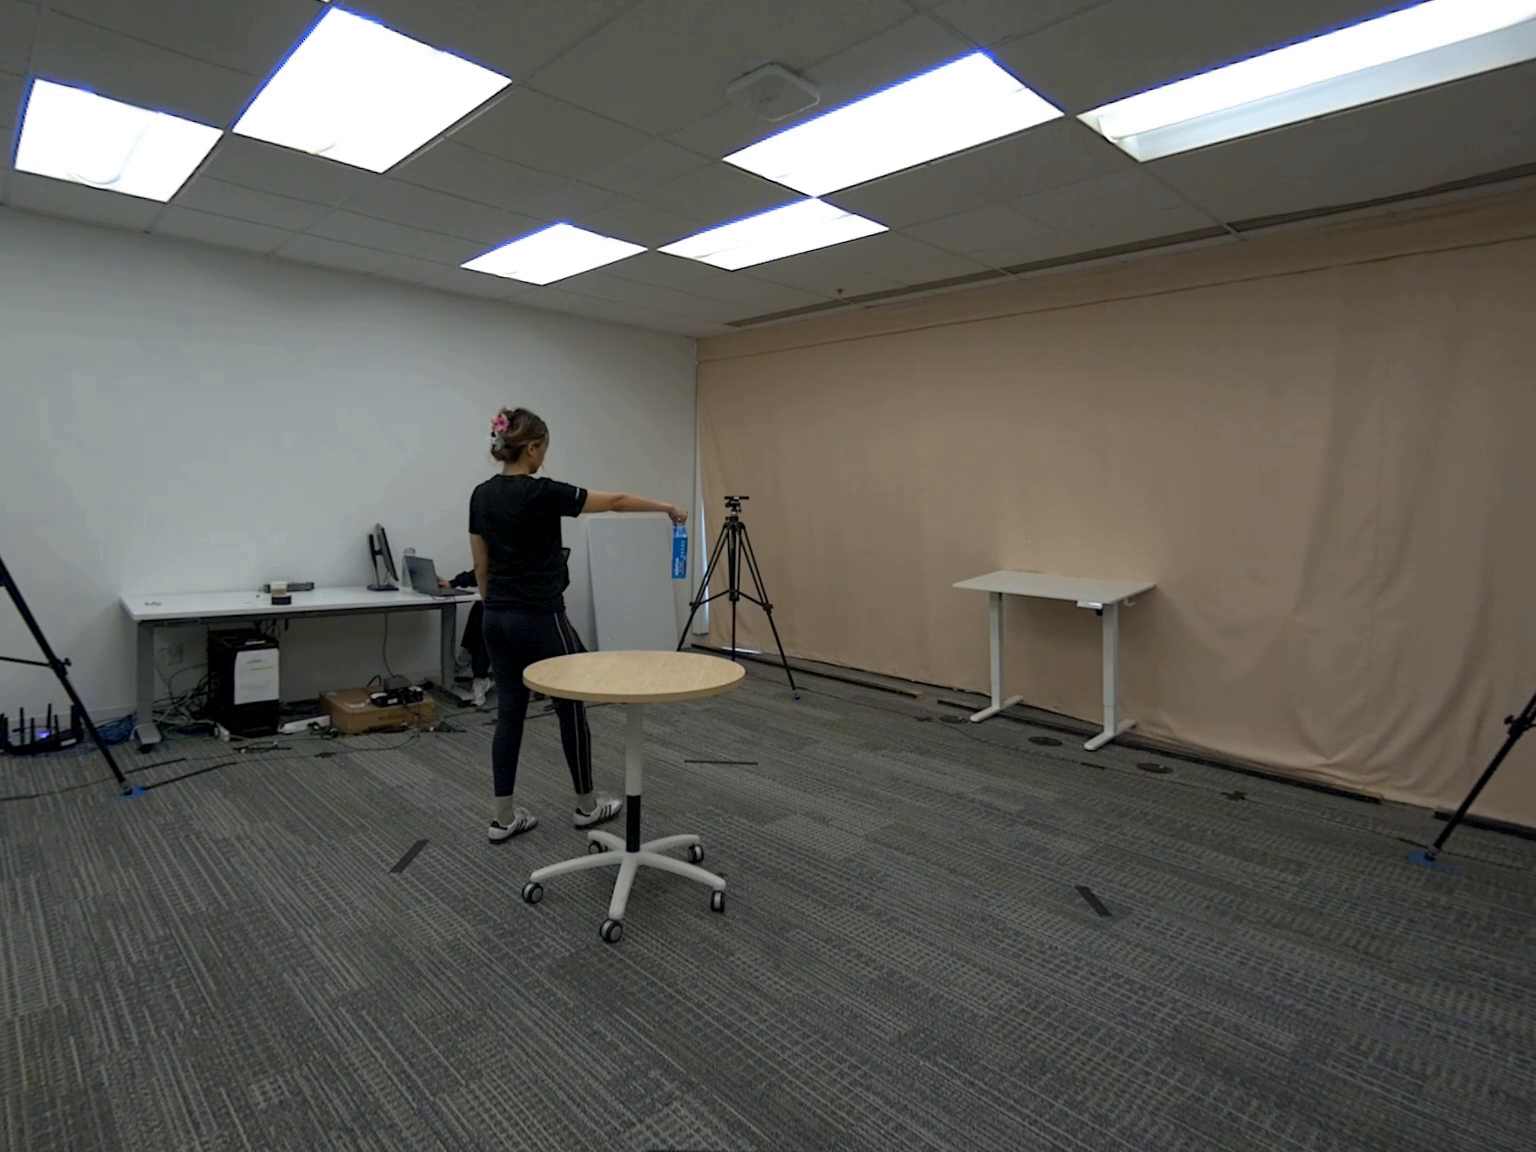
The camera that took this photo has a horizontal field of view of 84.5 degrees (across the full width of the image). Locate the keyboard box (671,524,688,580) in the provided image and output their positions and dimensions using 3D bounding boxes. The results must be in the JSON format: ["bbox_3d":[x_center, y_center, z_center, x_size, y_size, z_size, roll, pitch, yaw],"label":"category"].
[{"bbox_3d":[-0.393,-0.118,3.648,0.059,0.175,0.442,3,11,-8],"label":"keyboard box"}]
